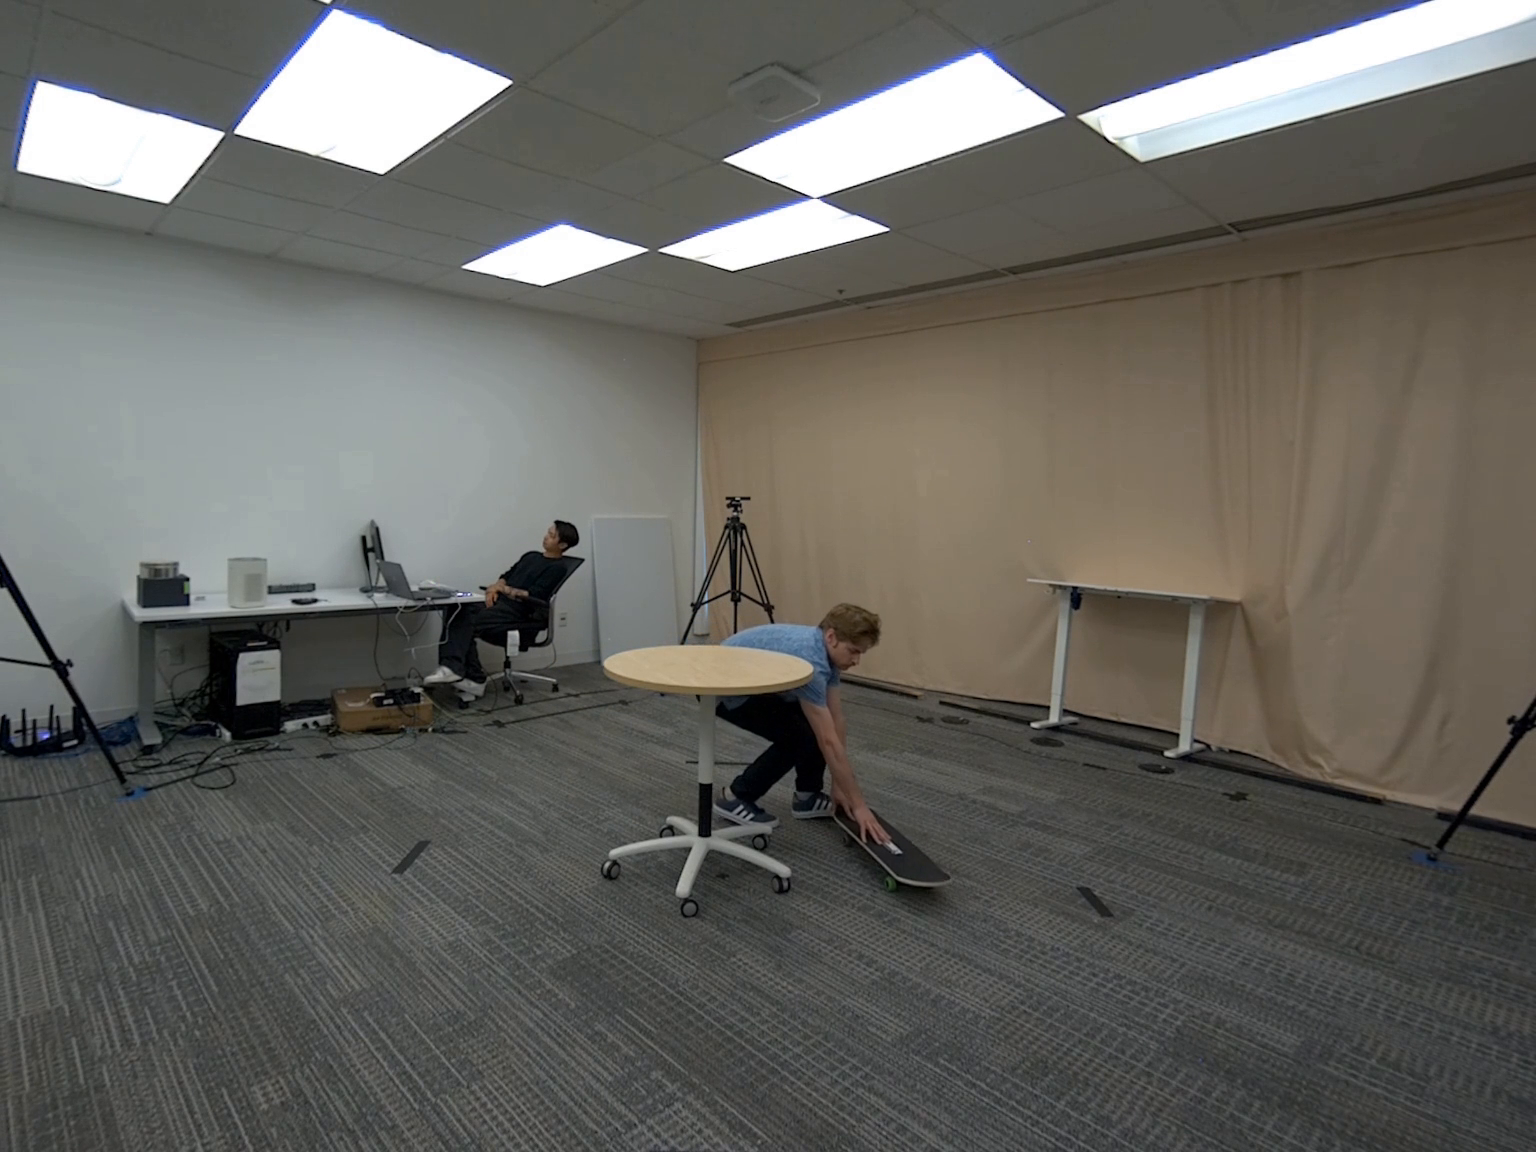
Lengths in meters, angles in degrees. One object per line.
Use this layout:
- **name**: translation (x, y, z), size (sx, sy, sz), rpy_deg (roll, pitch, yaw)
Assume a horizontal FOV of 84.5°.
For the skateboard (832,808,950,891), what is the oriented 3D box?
- **skateboard**: translation (0.445, 1.055, 3.227), size (0.191, 0.110, 0.797), rpy_deg (-1, 5, -16)
